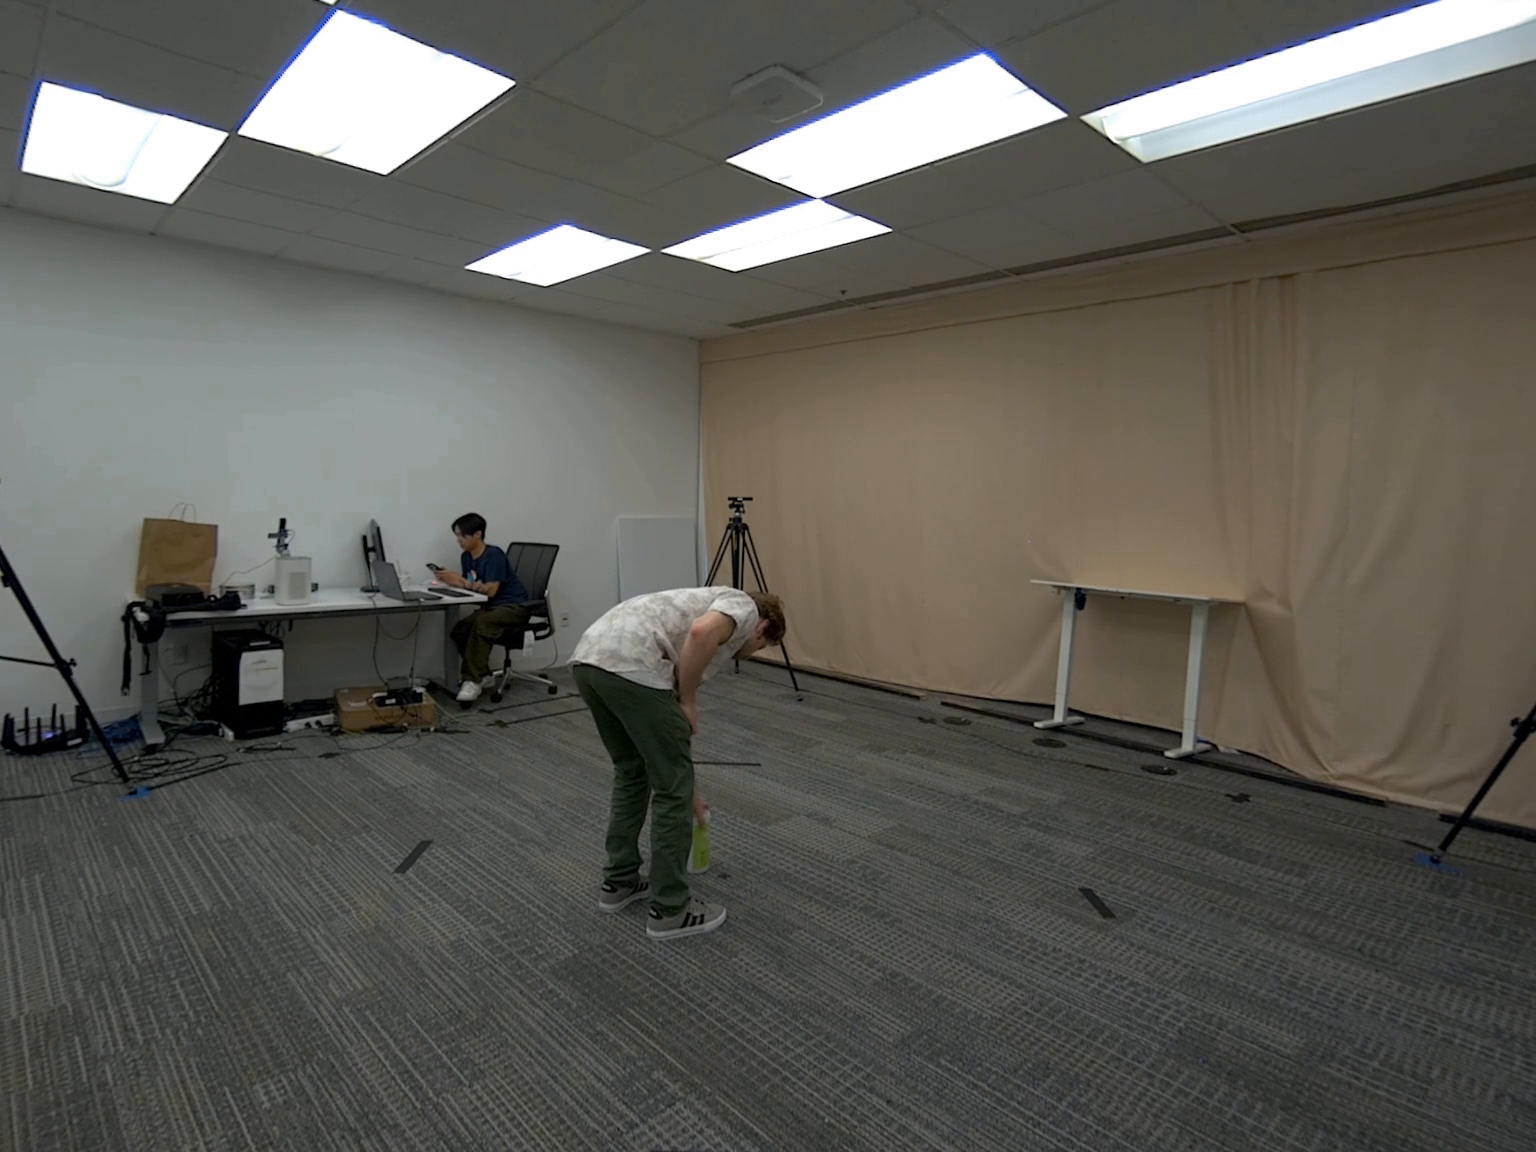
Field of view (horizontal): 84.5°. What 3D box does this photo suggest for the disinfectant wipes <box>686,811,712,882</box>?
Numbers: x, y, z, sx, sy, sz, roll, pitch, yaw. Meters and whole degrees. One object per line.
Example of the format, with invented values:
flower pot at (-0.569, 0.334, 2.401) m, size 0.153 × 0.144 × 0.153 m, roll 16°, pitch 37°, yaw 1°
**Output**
disinfectant wipes at (-0.276, 1.000, 3.151) m, size 0.118 × 0.217 × 0.118 m, roll 2°, pitch 2°, yaw -1°
